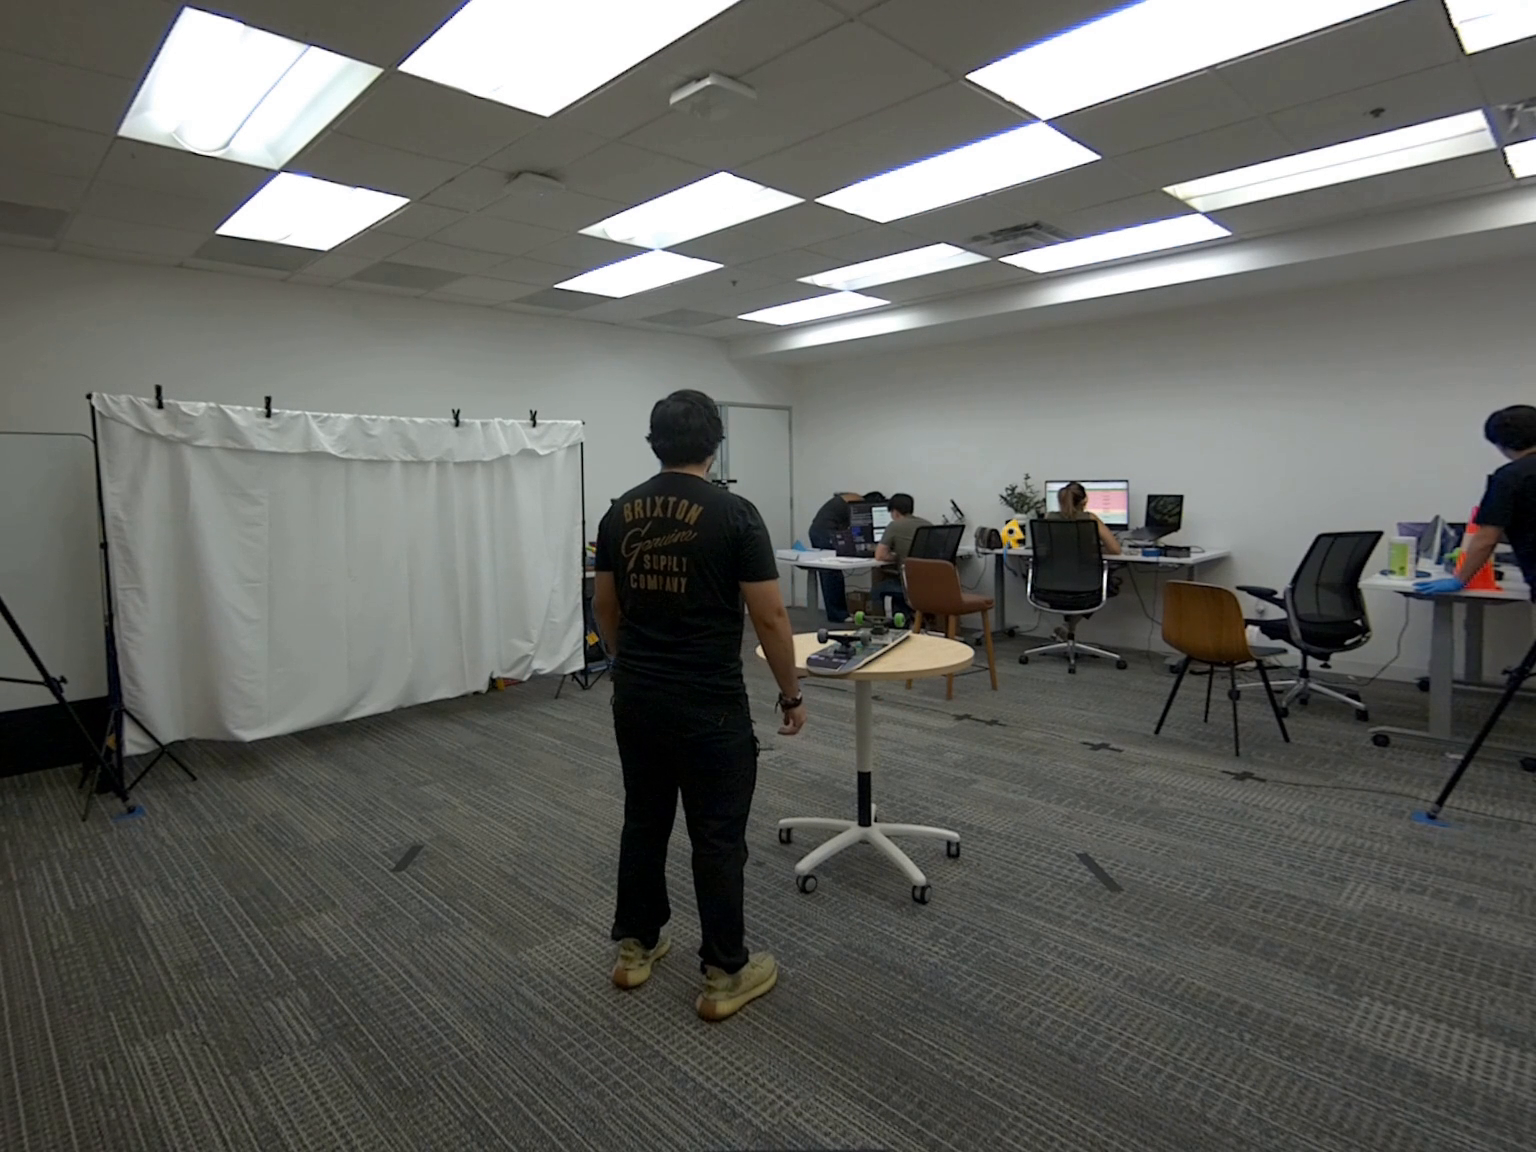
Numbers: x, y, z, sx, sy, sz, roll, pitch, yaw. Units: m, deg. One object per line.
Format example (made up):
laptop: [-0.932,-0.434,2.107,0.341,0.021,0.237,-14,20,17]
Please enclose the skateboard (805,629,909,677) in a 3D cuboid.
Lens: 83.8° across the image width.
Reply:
skateboard: [0.349,0.220,3.031,0.198,0.110,0.771,2,8,26]
